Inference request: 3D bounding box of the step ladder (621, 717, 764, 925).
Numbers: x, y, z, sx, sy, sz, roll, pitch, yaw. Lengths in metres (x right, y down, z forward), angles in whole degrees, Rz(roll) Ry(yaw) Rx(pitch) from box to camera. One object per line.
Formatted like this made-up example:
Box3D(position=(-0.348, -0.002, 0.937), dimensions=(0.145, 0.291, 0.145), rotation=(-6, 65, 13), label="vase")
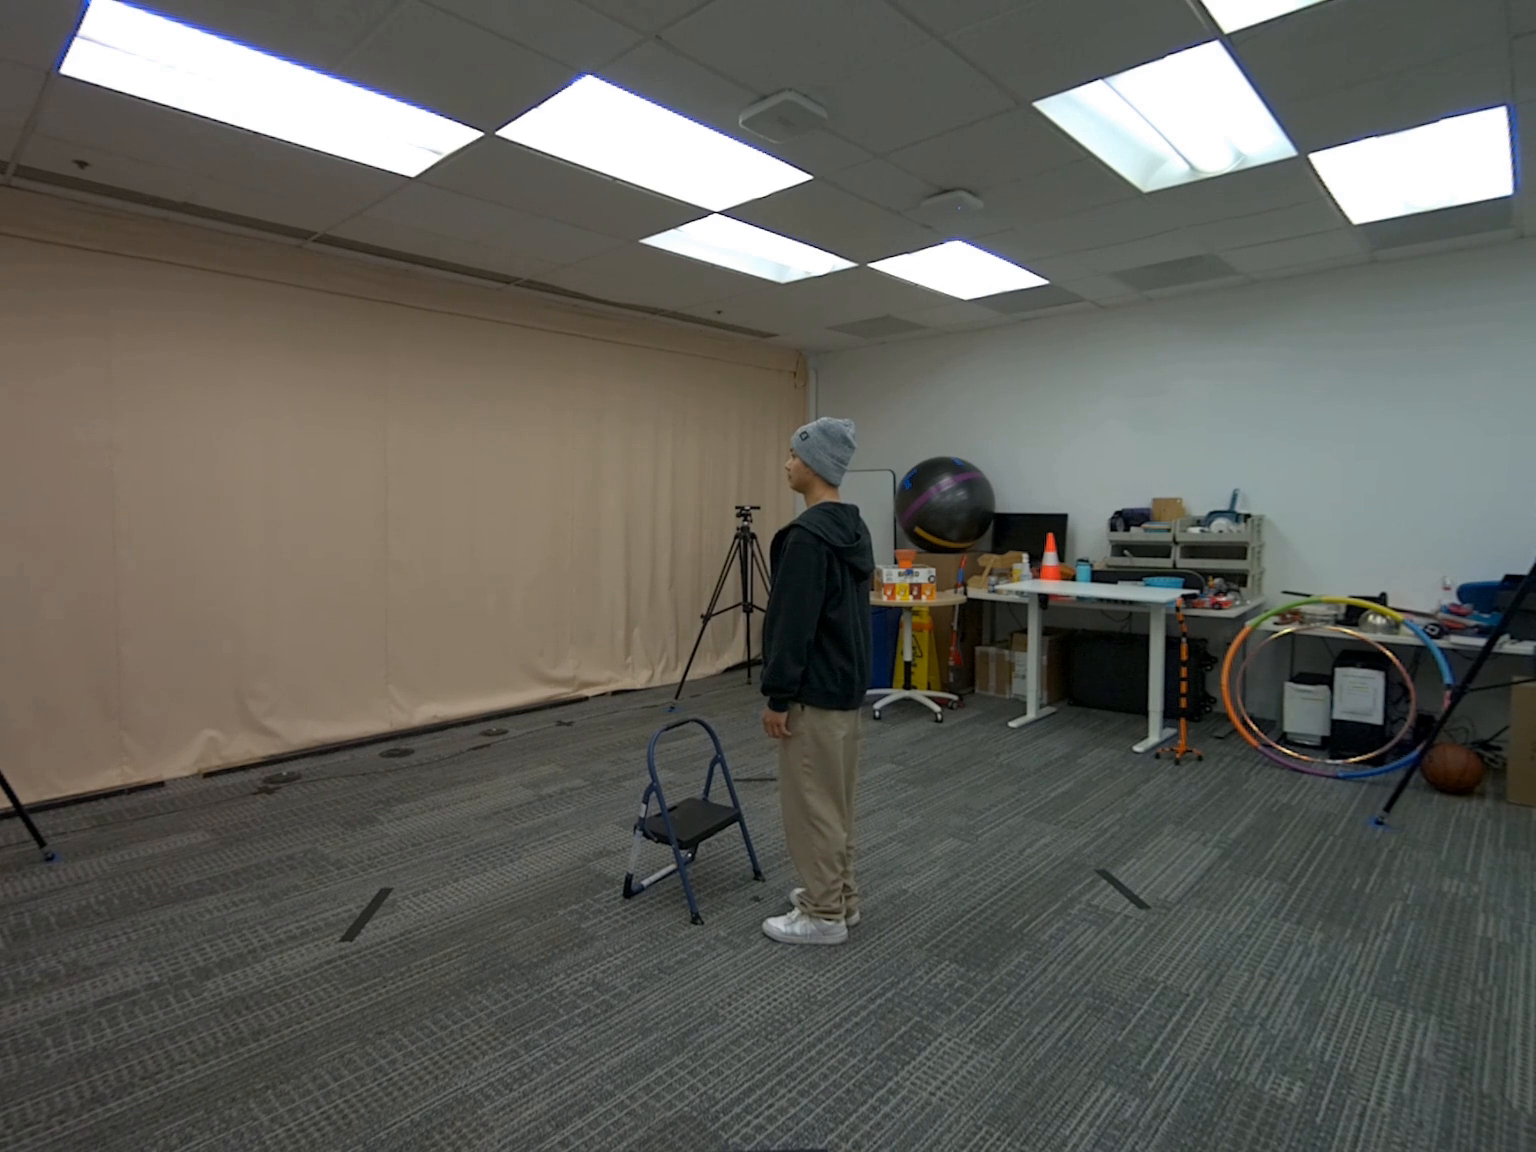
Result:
Box3D(position=(-0.268, 0.837, 3.055), dimensions=(0.360, 0.605, 0.418), rotation=(2, 4, 33), label="step ladder")
